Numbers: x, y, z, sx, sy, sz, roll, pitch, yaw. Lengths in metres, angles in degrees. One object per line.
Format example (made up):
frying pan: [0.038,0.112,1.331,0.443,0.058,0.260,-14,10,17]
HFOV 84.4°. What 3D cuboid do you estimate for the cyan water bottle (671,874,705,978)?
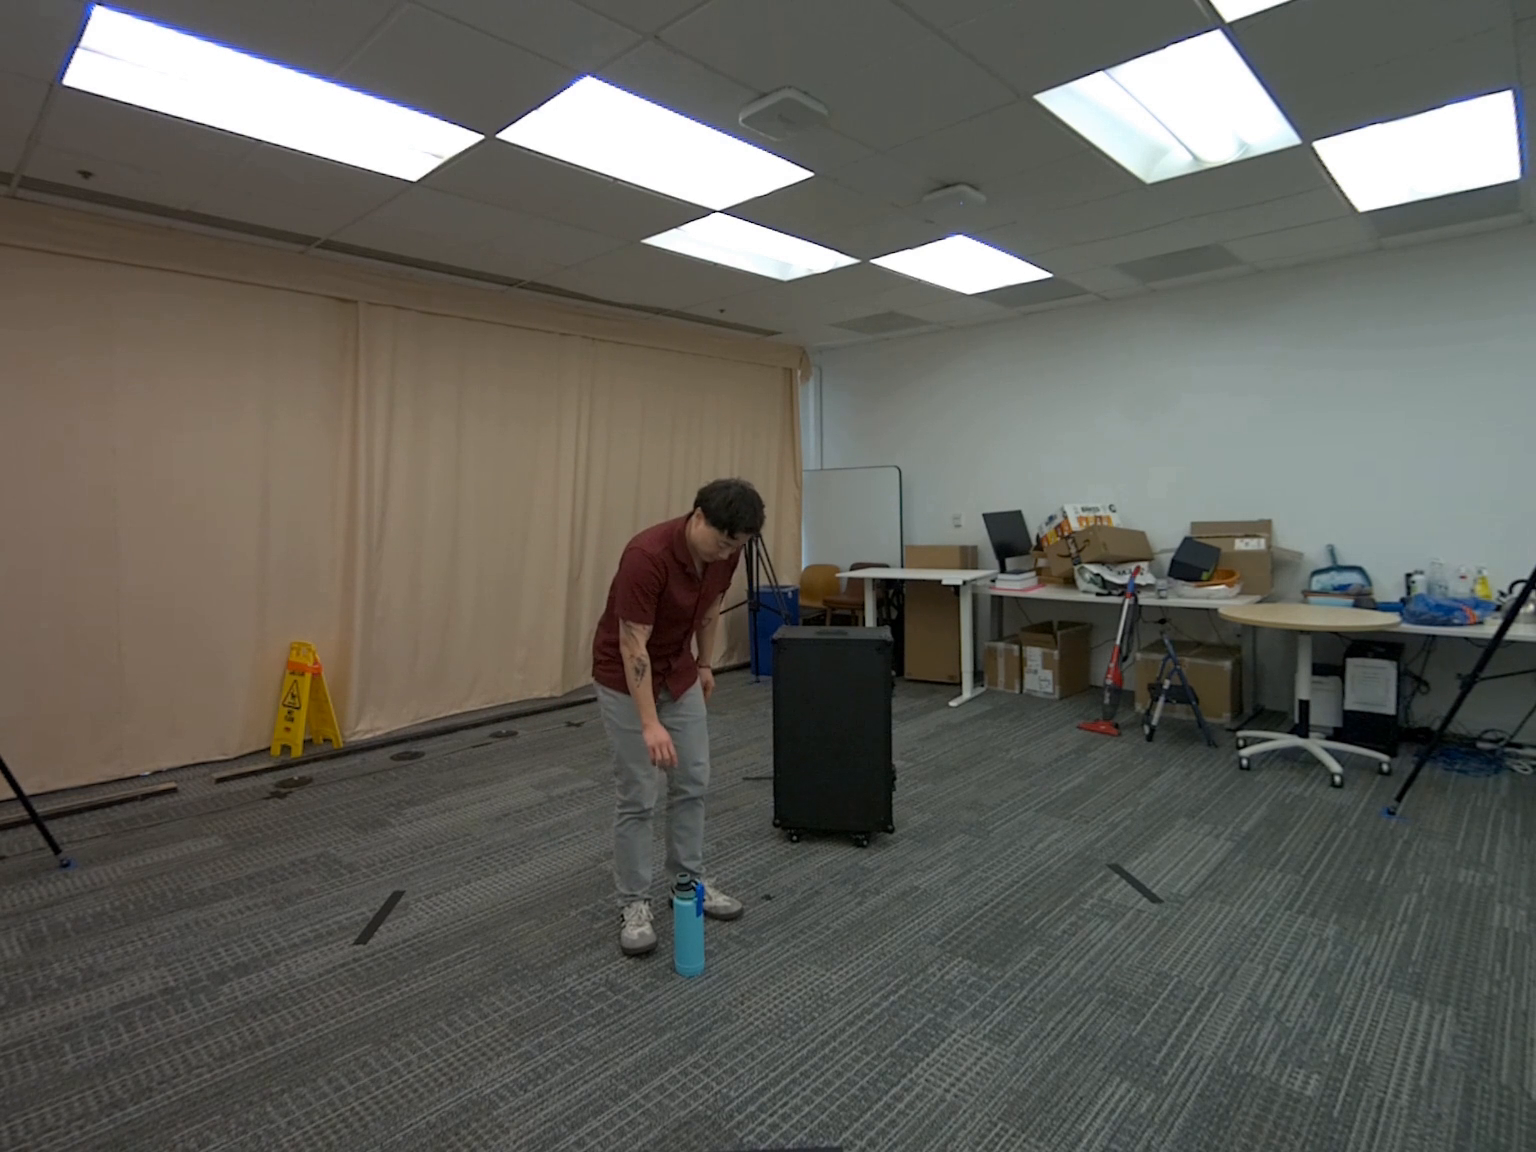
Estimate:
cyan water bottle: [-0.227,1.037,2.535,0.092,0.283,0.092,0,0,-2]
